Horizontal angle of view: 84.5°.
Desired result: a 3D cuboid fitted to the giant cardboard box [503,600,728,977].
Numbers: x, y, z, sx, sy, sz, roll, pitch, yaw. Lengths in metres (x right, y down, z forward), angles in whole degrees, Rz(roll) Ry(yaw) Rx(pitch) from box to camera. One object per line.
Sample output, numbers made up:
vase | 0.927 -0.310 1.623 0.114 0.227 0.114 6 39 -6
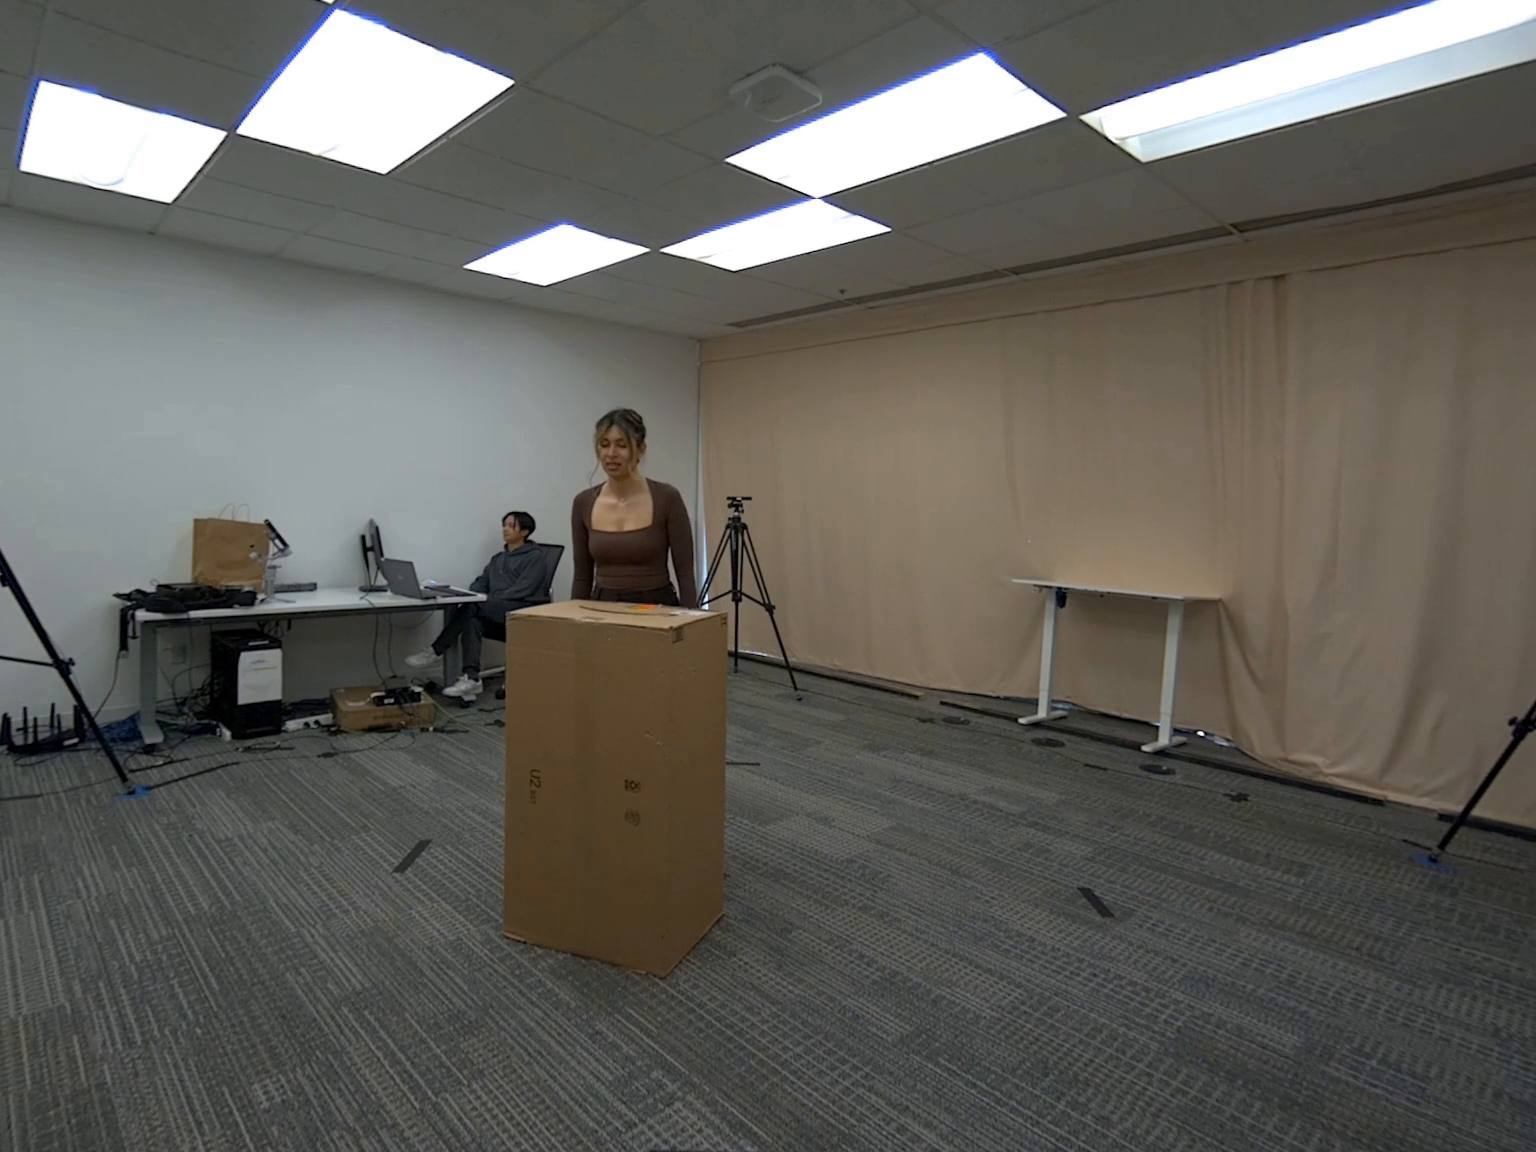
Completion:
giant cardboard box | -0.481 0.624 2.699 0.594 1.025 0.440 3 3 23
